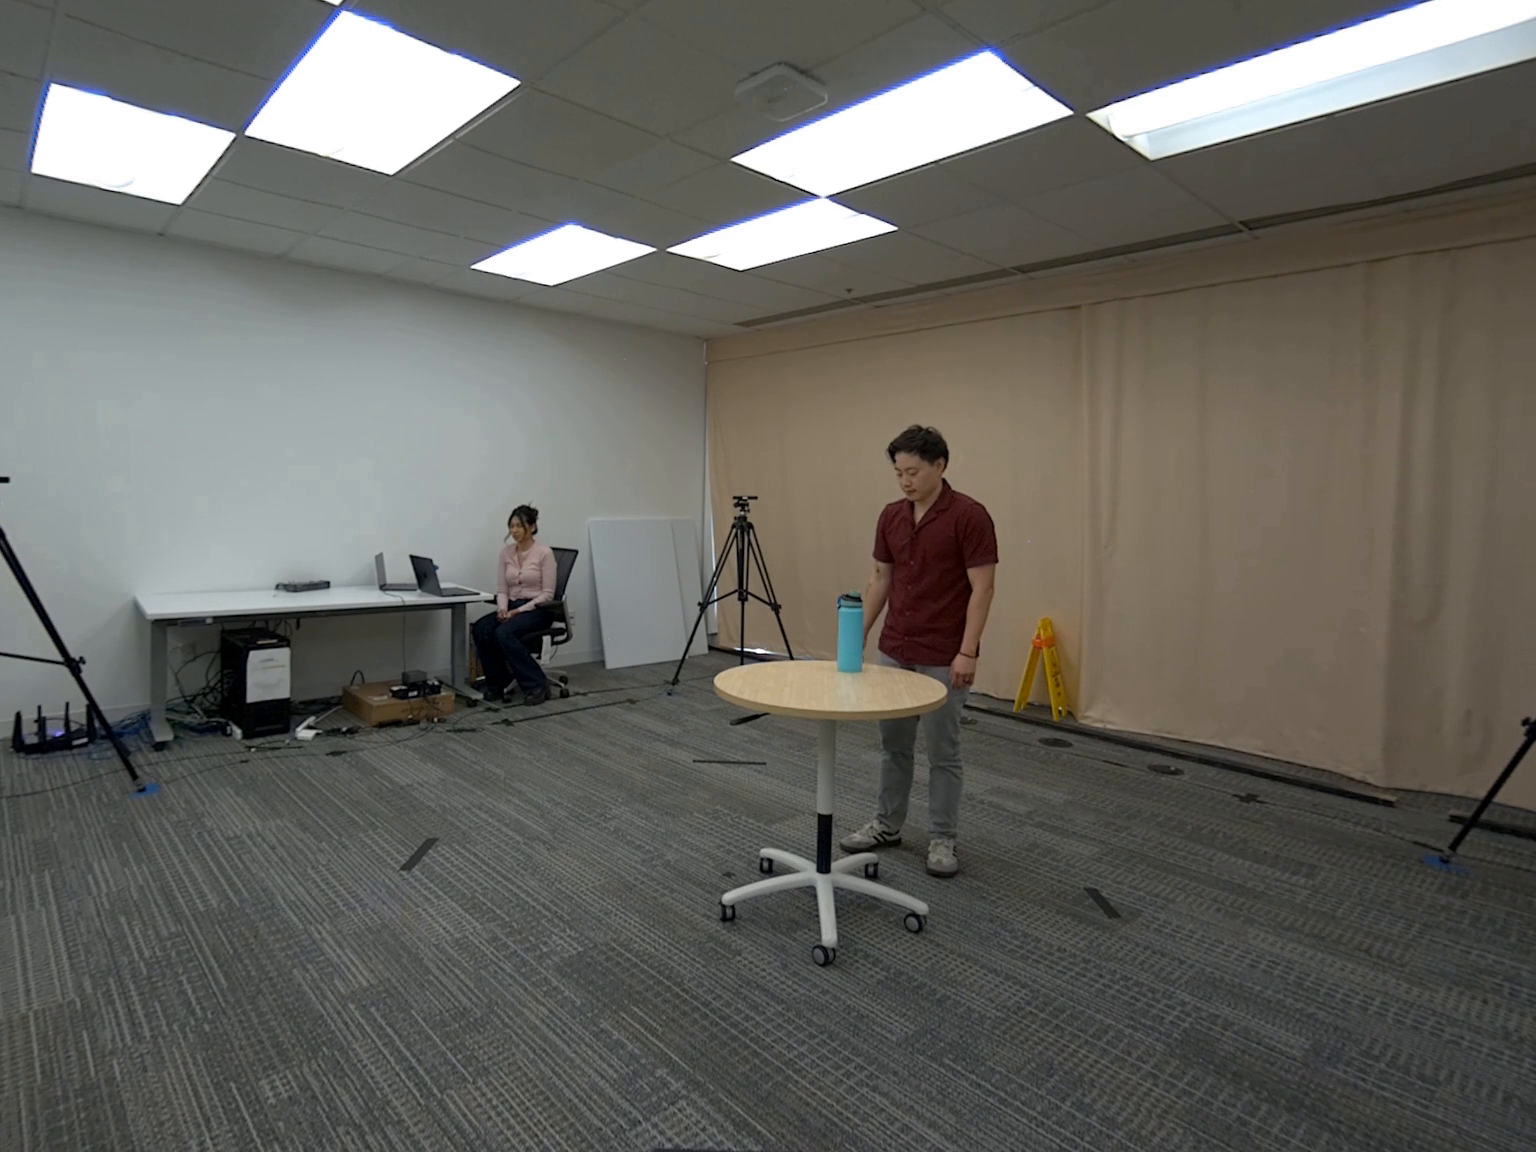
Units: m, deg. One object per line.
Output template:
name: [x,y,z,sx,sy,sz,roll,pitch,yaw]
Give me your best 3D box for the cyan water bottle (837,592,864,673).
cyan water bottle: [0.293,0.200,3.003,0.092,0.283,0.092,0,3,-1]
